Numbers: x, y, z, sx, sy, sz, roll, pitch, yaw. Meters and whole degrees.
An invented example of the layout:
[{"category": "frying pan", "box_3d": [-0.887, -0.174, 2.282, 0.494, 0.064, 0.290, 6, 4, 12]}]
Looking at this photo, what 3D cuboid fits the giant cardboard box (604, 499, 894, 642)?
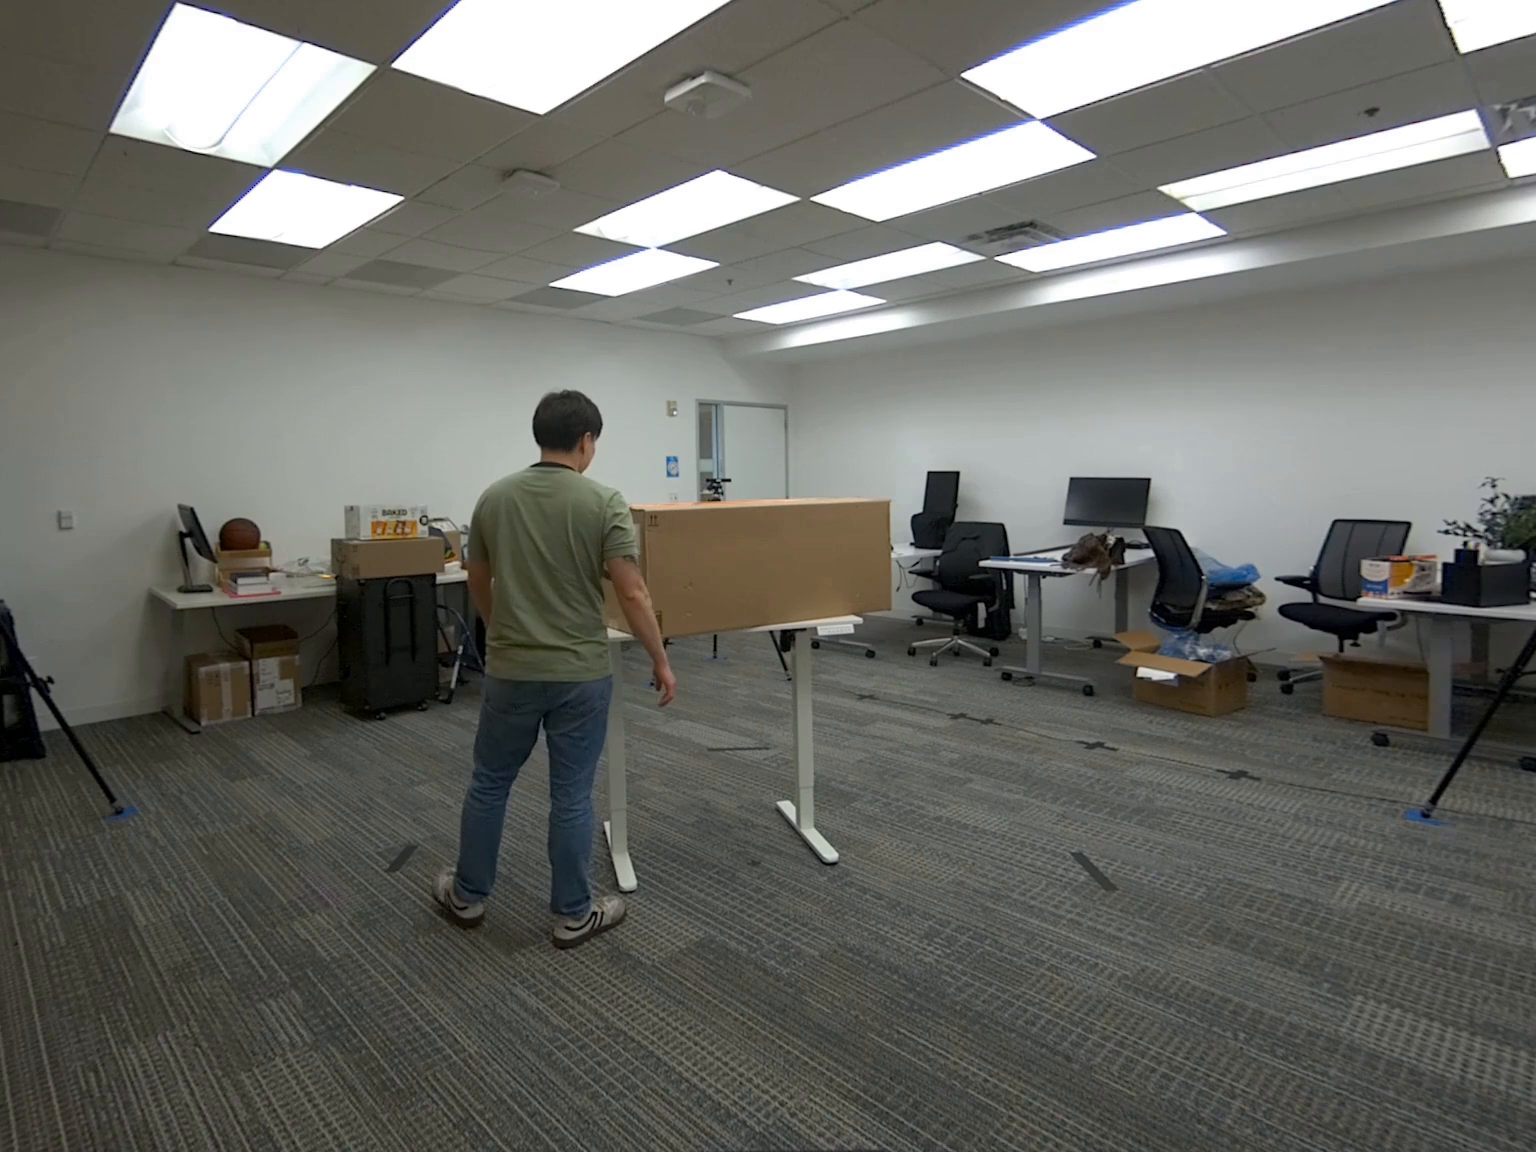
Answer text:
[{"category": "giant cardboard box", "box_3d": [-0.116, -0.066, 3.226, 1.002, 0.424, 0.594, -5, 6, -31]}]
